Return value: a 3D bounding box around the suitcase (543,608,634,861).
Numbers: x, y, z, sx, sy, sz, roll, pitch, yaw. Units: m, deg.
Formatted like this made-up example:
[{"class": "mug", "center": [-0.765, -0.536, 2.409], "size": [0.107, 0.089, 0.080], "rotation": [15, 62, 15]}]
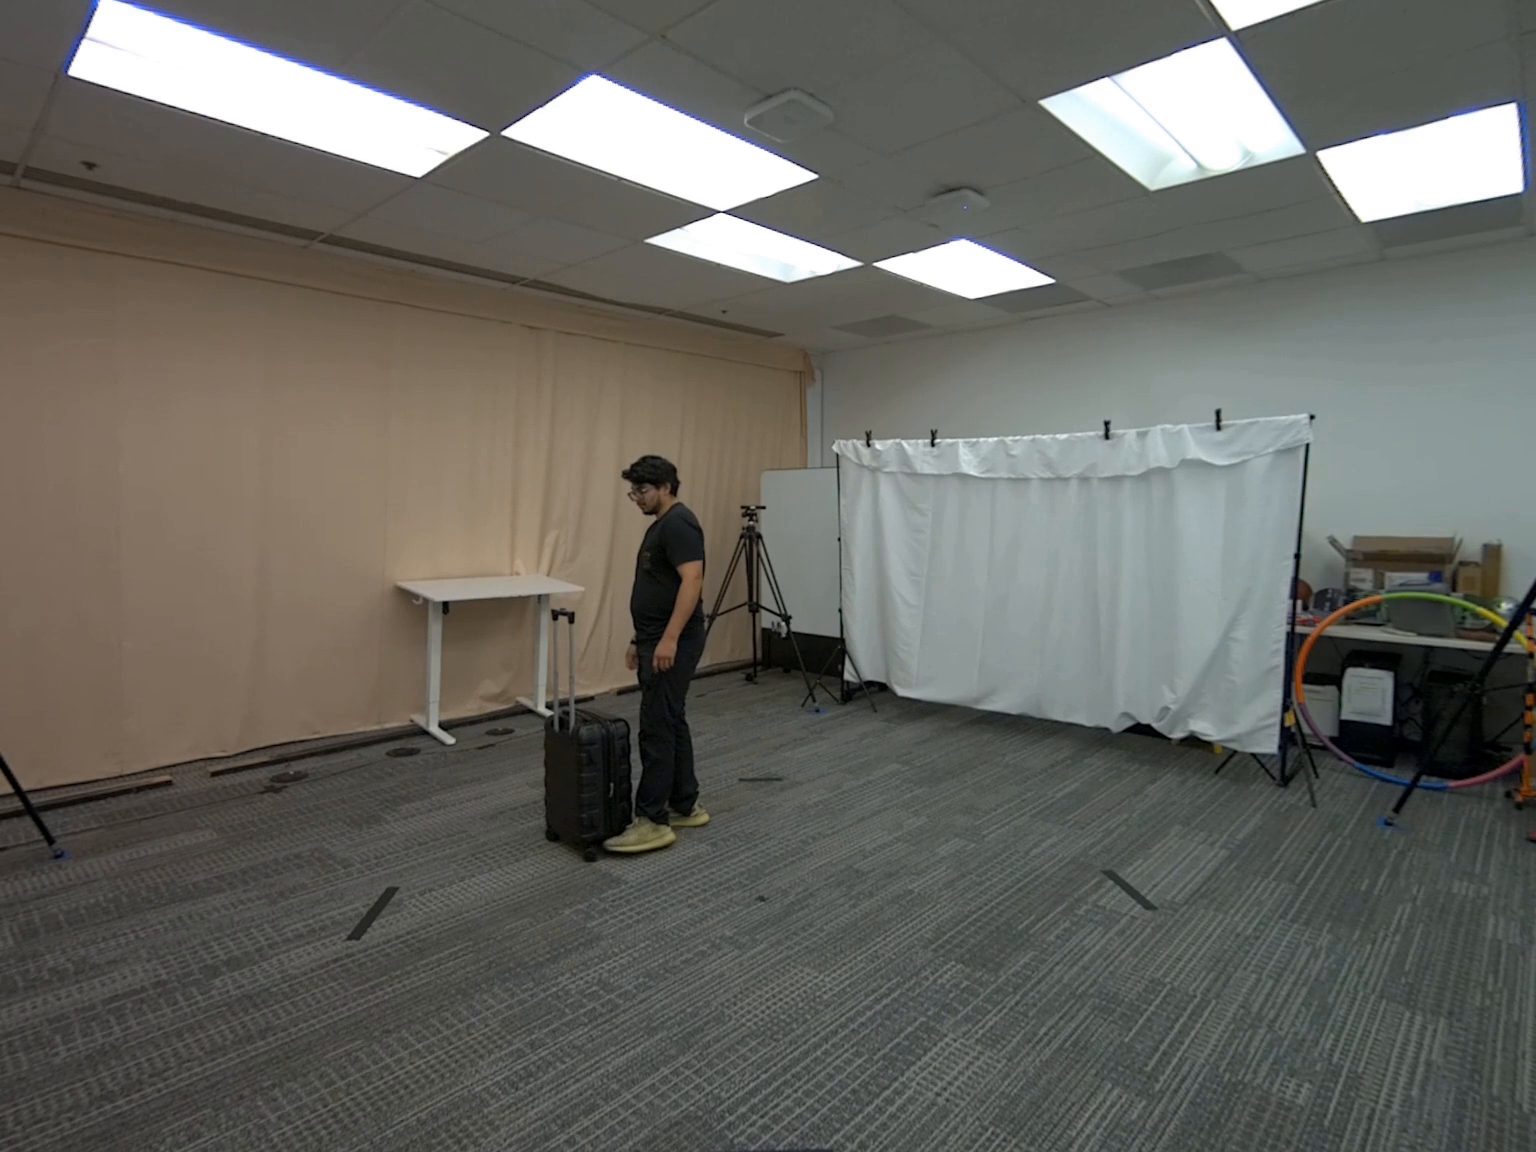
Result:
[{"class": "suitcase", "center": [-0.753, 0.627, 3.484], "size": [0.249, 0.977, 0.397], "rotation": [-1, 3, -42]}]
